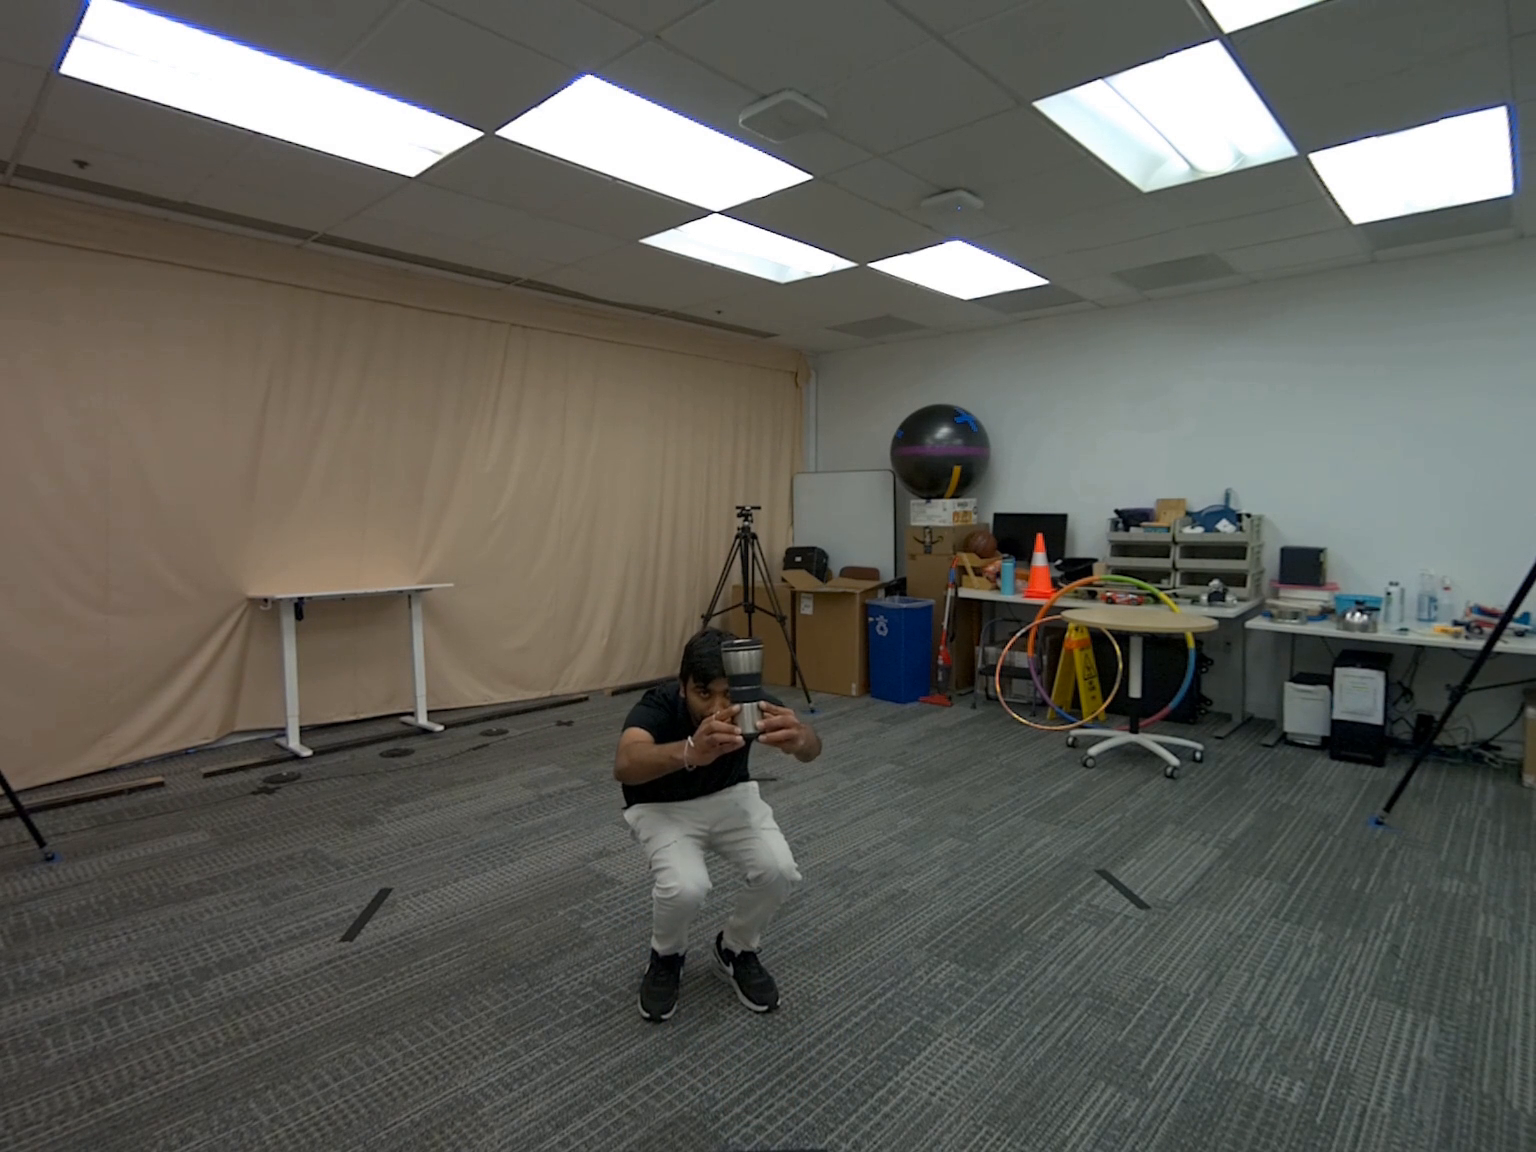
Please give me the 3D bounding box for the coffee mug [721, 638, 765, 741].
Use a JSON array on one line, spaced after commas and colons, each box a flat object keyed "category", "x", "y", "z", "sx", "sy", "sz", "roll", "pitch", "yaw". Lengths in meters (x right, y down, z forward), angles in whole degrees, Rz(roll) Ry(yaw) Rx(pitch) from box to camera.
[{"category": "coffee mug", "x": -0.030, "y": 0.231, "z": 1.771, "sx": 0.118, "sy": 0.203, "sz": 0.090, "roll": -4, "pitch": -4, "yaw": -35}]
